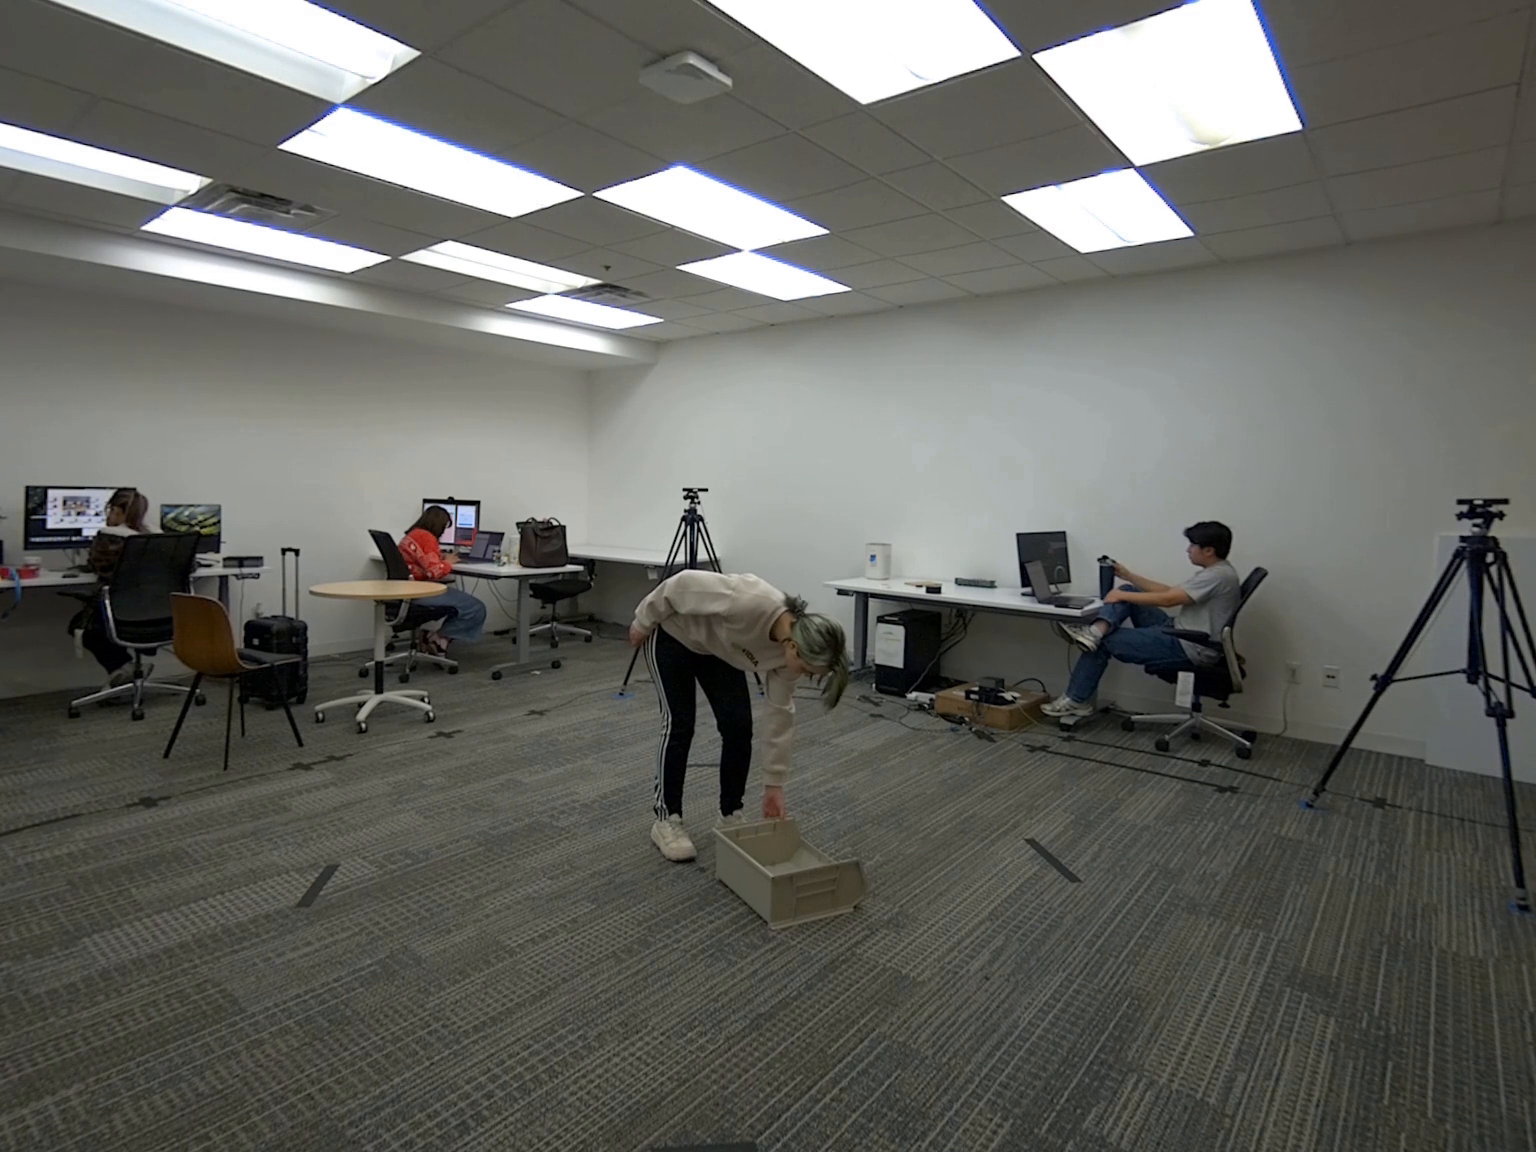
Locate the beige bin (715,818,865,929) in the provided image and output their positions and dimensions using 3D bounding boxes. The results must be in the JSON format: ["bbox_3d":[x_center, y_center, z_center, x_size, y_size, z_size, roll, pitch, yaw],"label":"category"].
[{"bbox_3d":[0.061,1.001,2.938,0.368,0.188,0.435,-2,7,-29],"label":"beige bin"}]
